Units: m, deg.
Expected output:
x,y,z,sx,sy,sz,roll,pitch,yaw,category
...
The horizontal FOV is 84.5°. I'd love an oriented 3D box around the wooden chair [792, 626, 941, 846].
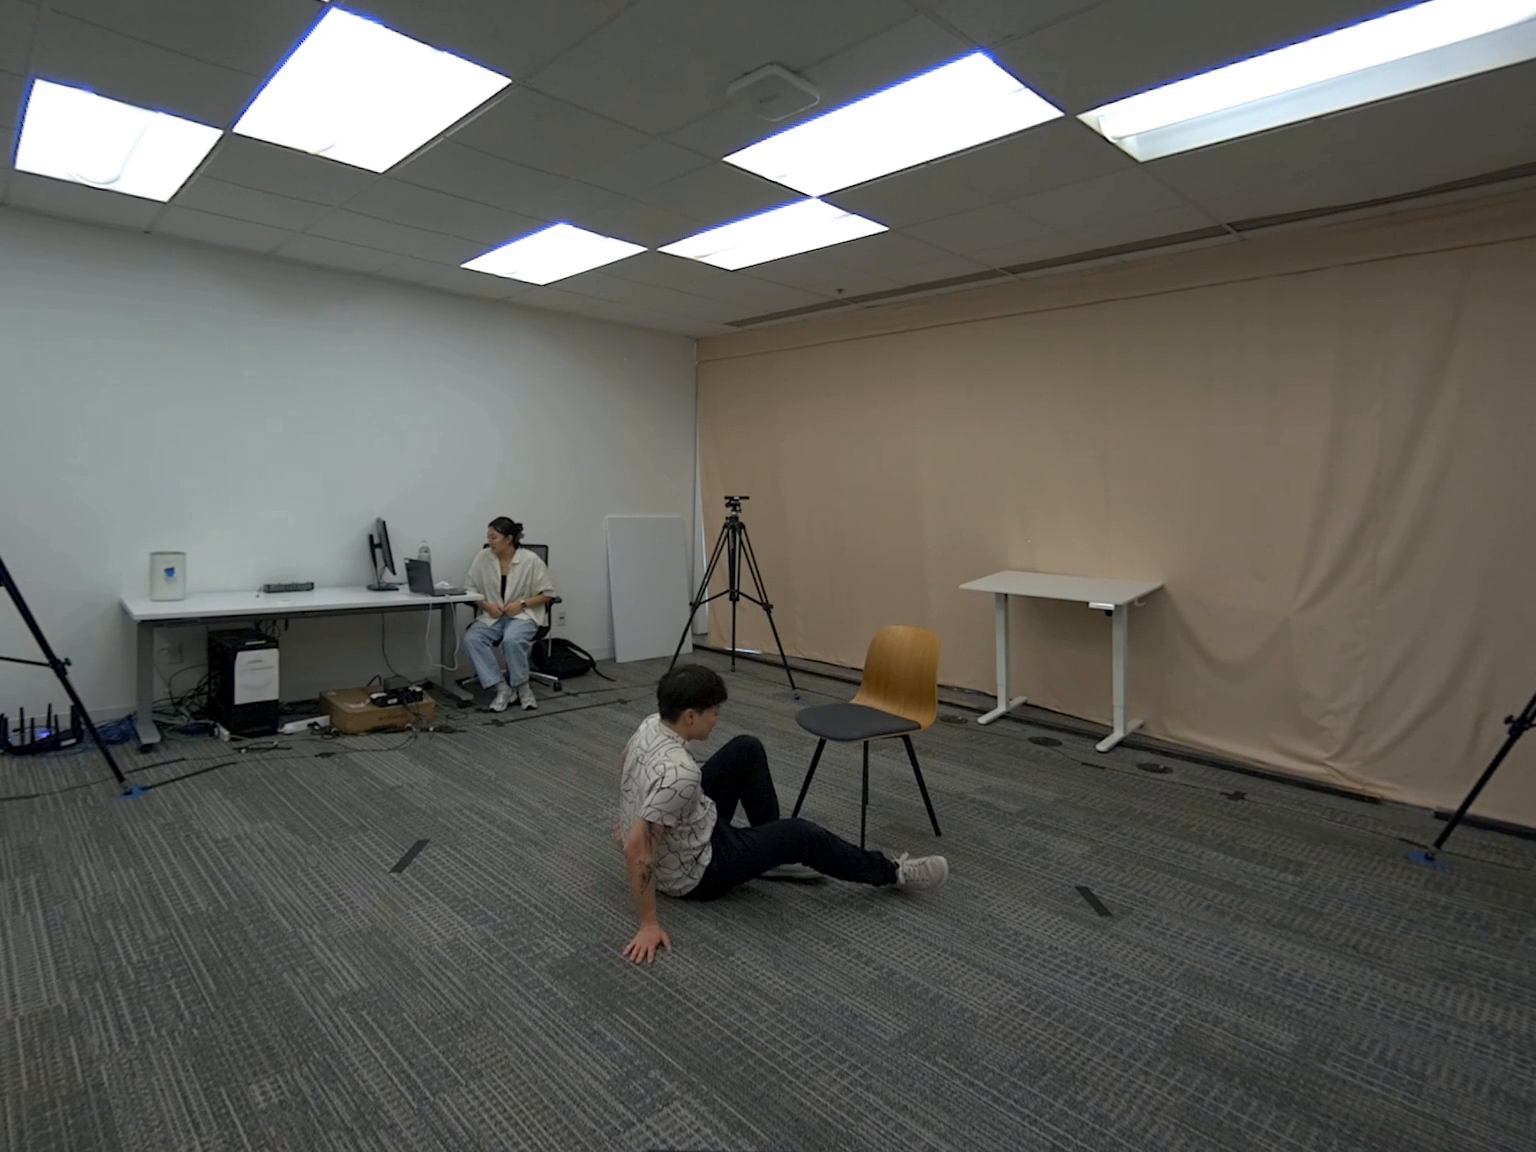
x,y,z,sx,sy,sz,roll,pitch,yaw,category
0.409,0.652,3.545,0.510,0.877,0.490,4,1,-36,wooden chair
